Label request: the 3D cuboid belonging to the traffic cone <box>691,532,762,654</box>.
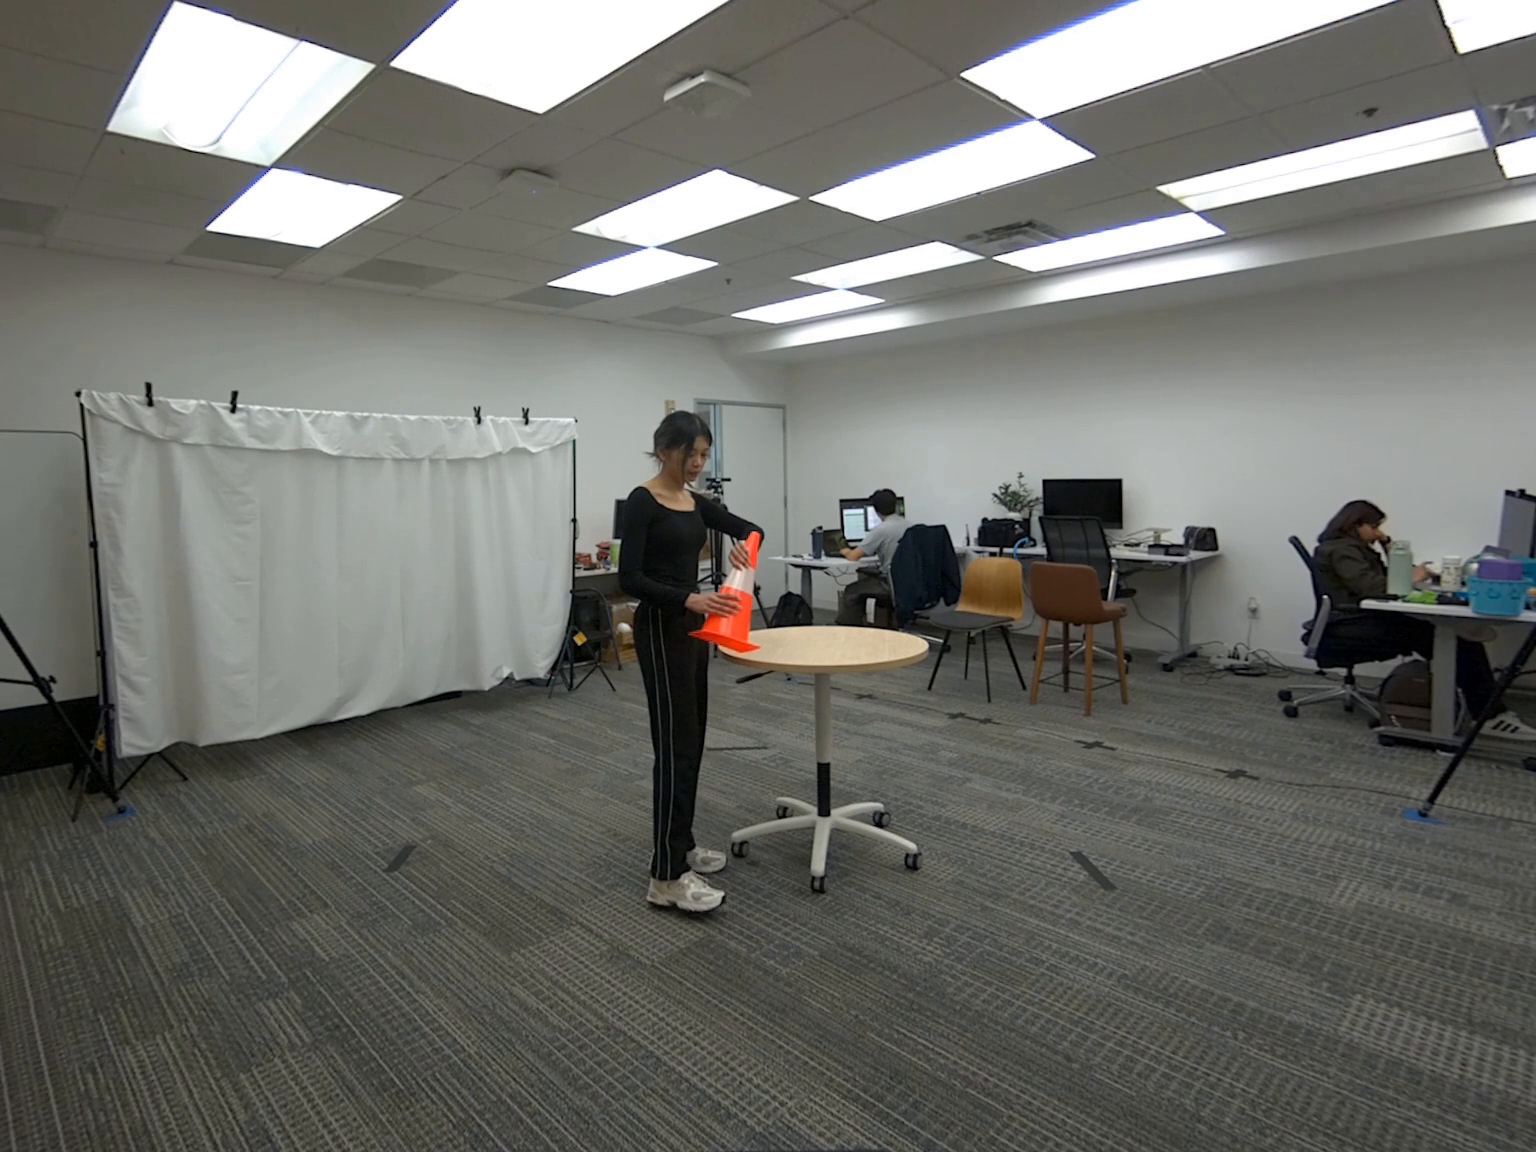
[{"bbox_3d":[-0.088,0.043,2.810,0.201,0.388,0.205,19,-18,-11],"label":"traffic cone"}]
